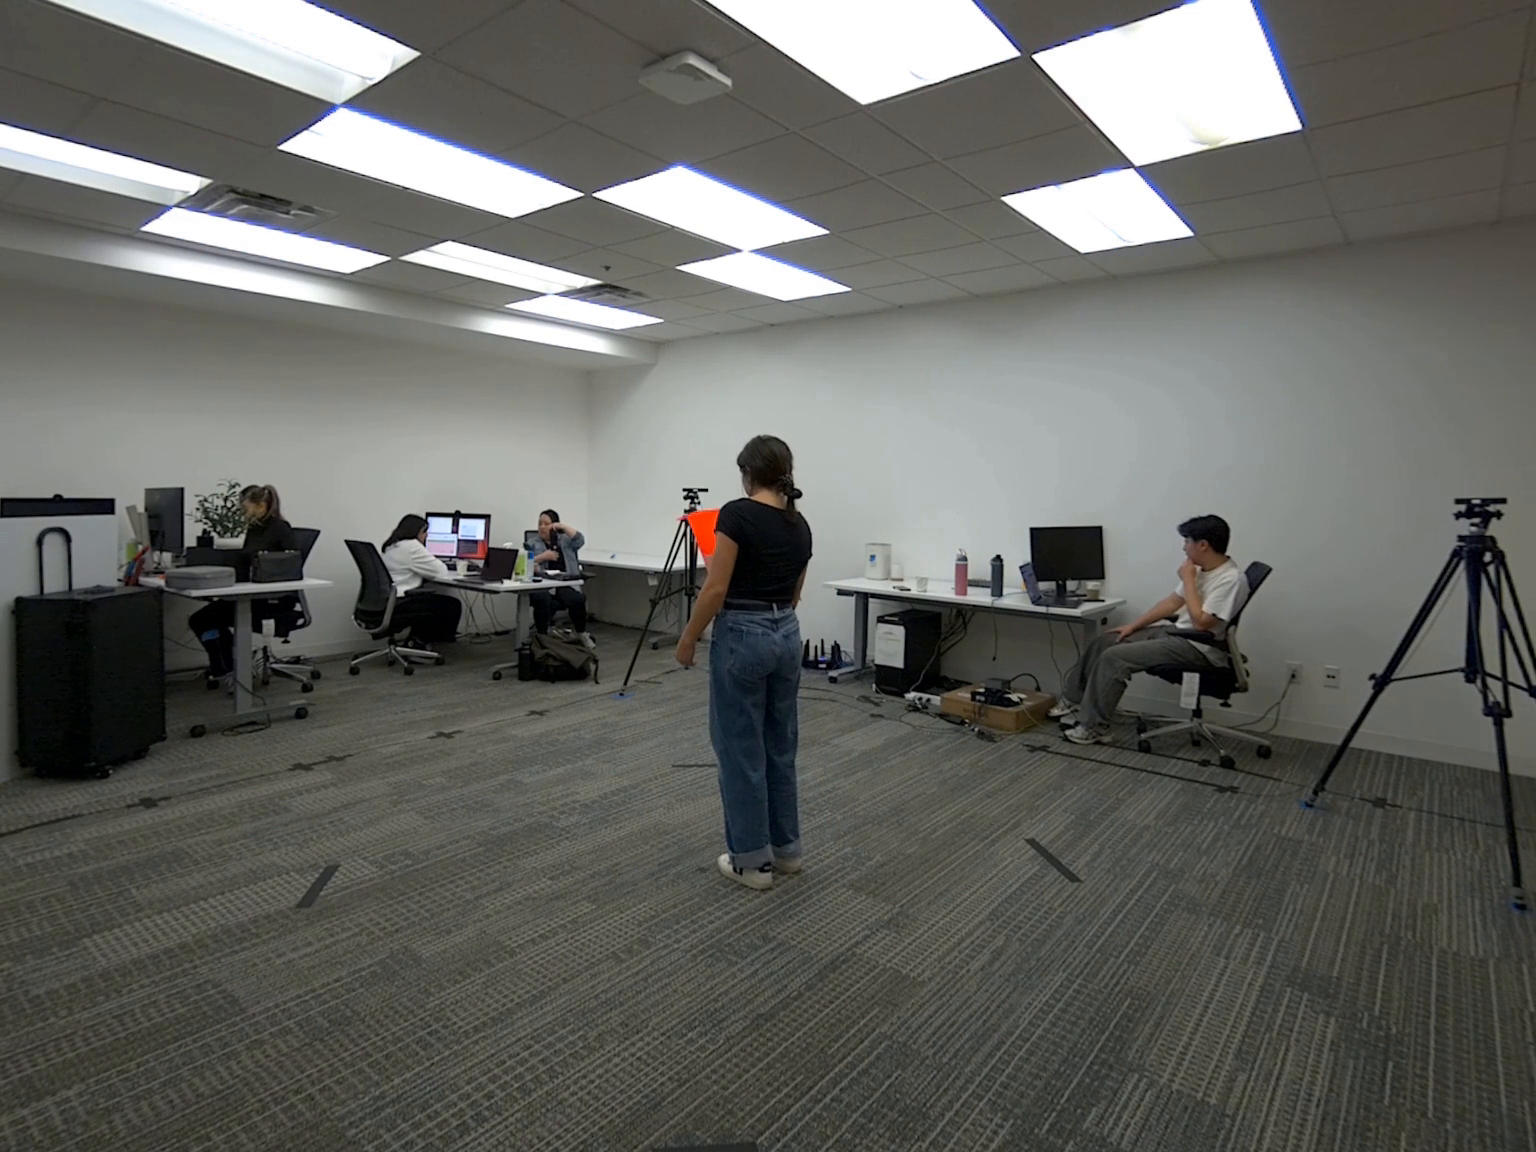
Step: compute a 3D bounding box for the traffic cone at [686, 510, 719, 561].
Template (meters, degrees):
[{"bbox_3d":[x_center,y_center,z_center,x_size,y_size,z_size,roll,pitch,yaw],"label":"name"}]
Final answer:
[{"bbox_3d":[-0.193,-0.075,3.326,0.198,0.385,0.209,-10,-3,-33],"label":"traffic cone"}]
